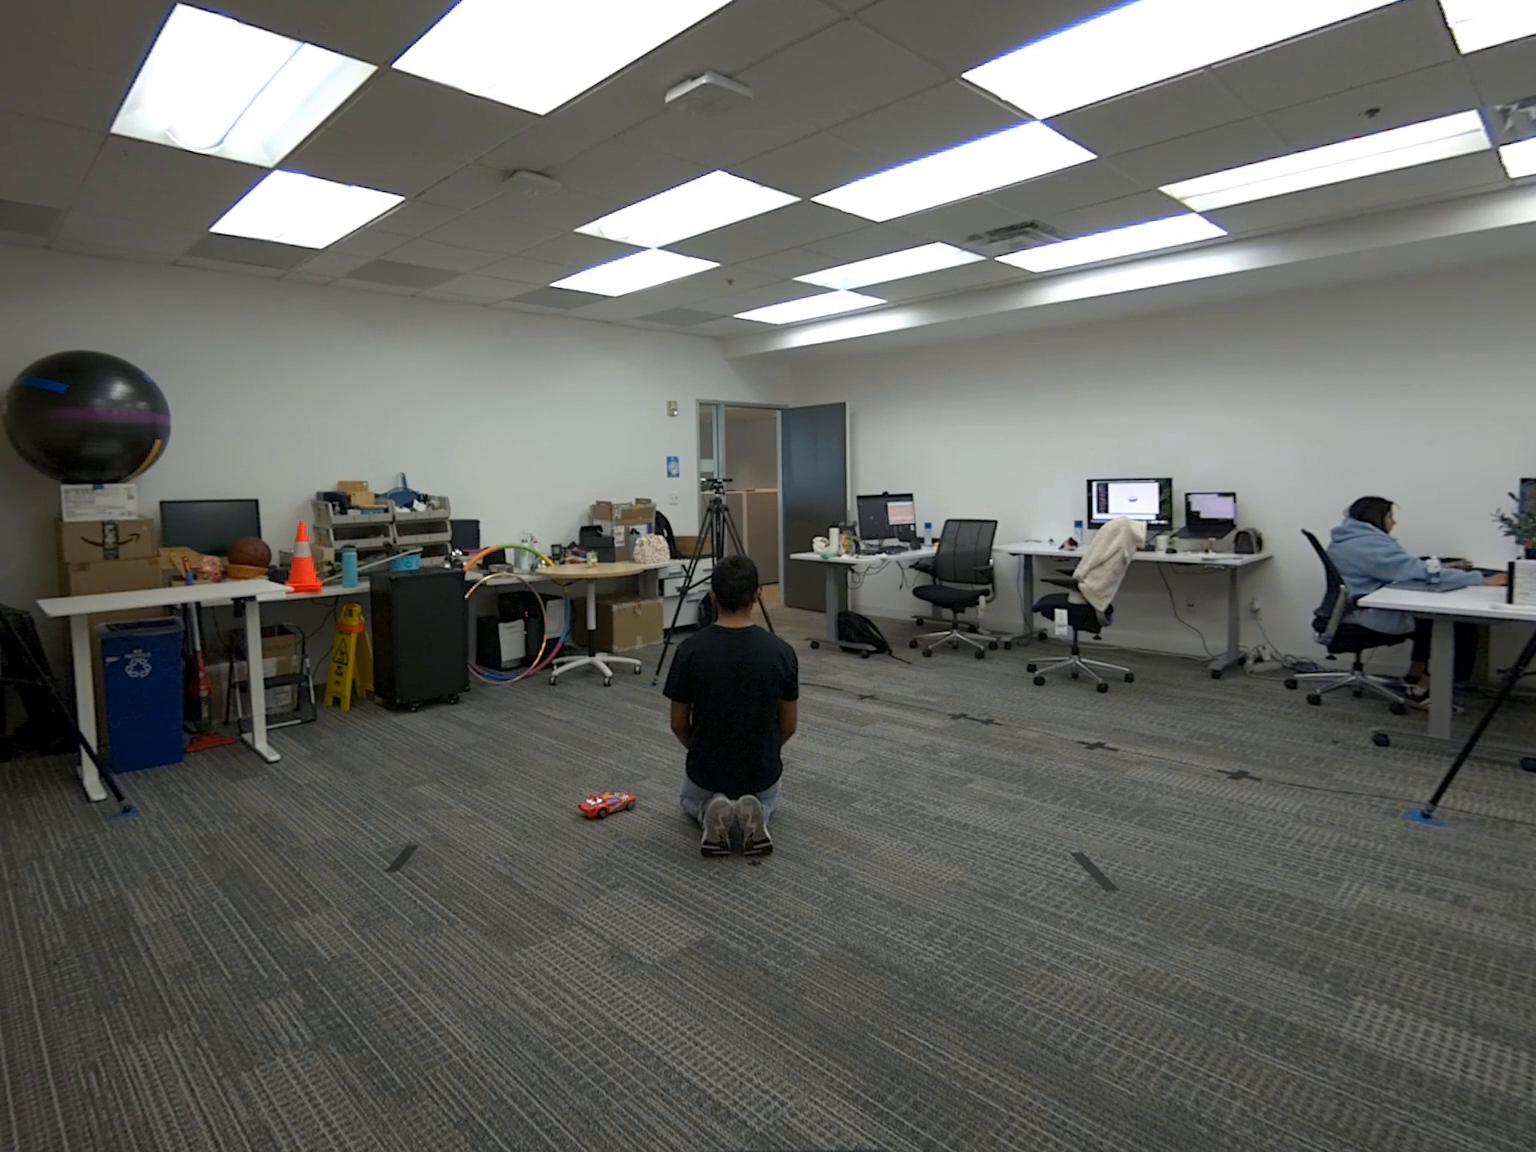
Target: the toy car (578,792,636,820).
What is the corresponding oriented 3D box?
[{"bbox_3d":[-0.687,0.962,3.615,0.246,0.083,0.134,8,-2,-41],"label":"toy car"}]
